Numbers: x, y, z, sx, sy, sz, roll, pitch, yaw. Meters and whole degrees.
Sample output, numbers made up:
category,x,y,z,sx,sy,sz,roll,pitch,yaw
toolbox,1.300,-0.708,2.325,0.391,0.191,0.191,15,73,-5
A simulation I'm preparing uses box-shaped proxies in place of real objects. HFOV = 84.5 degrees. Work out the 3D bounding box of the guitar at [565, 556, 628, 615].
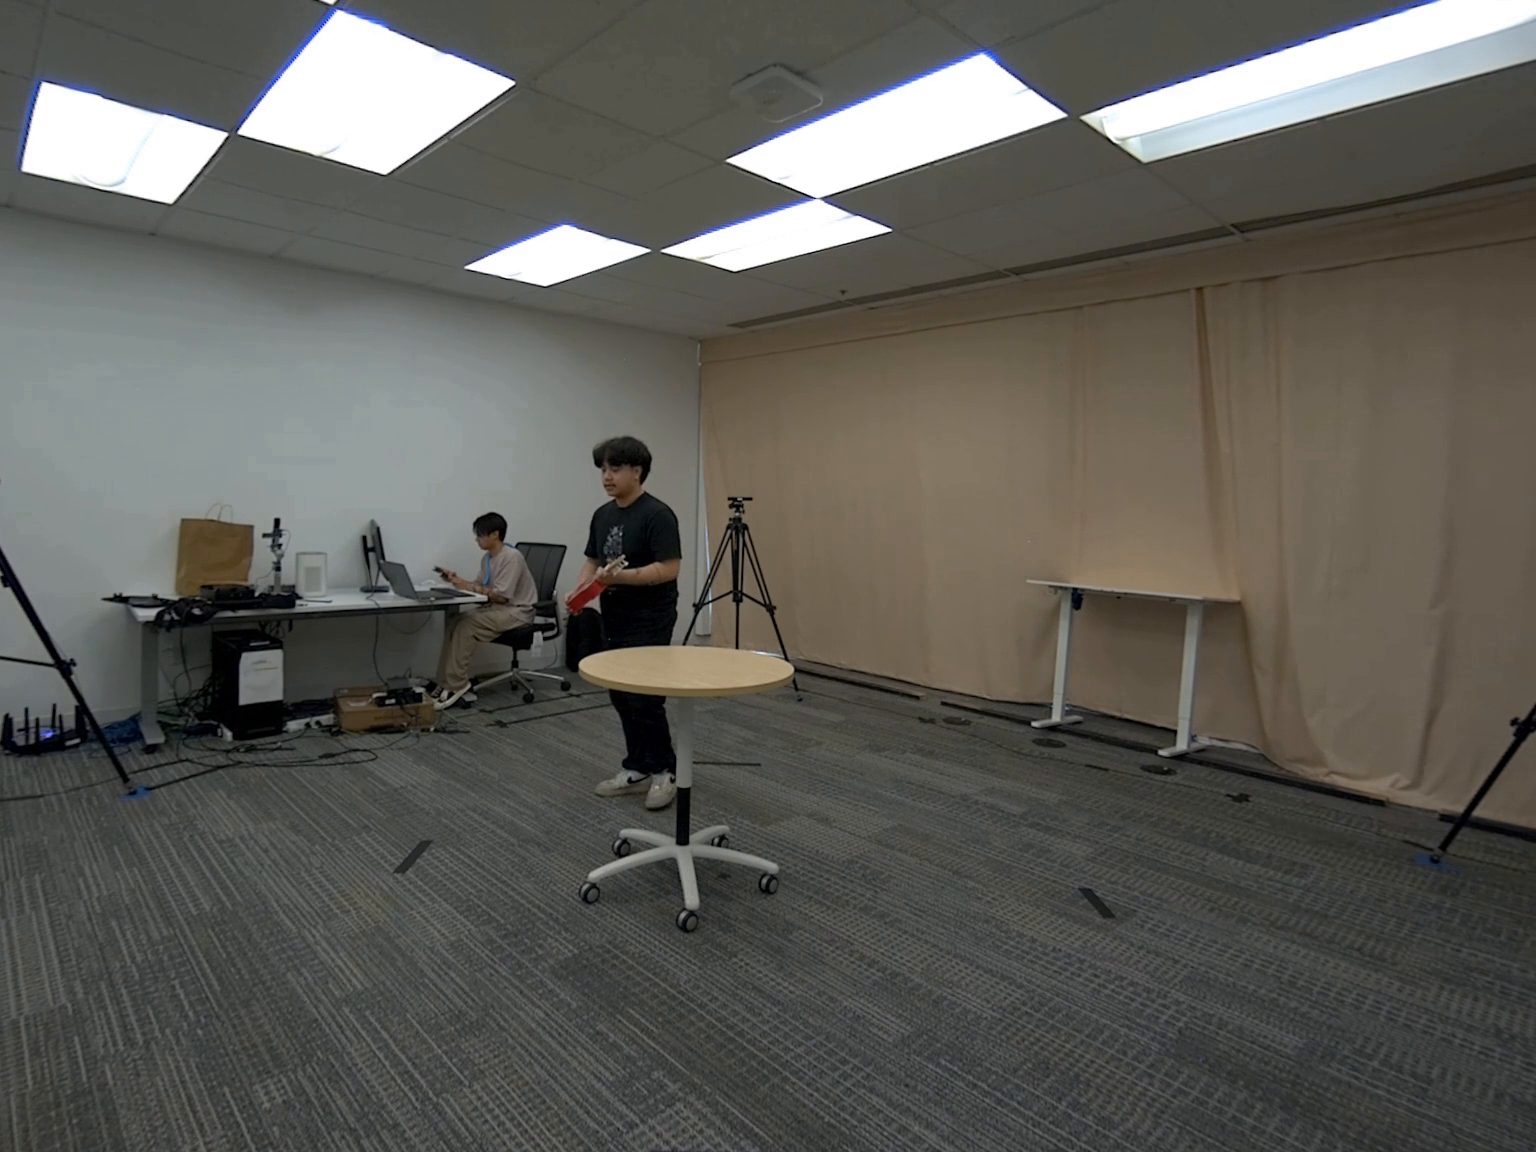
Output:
category,x,y,z,sx,sy,sz,roll,pitch,yaw
guitar,-0.755,0.042,3.622,0.070,0.193,0.502,43,-27,-11
